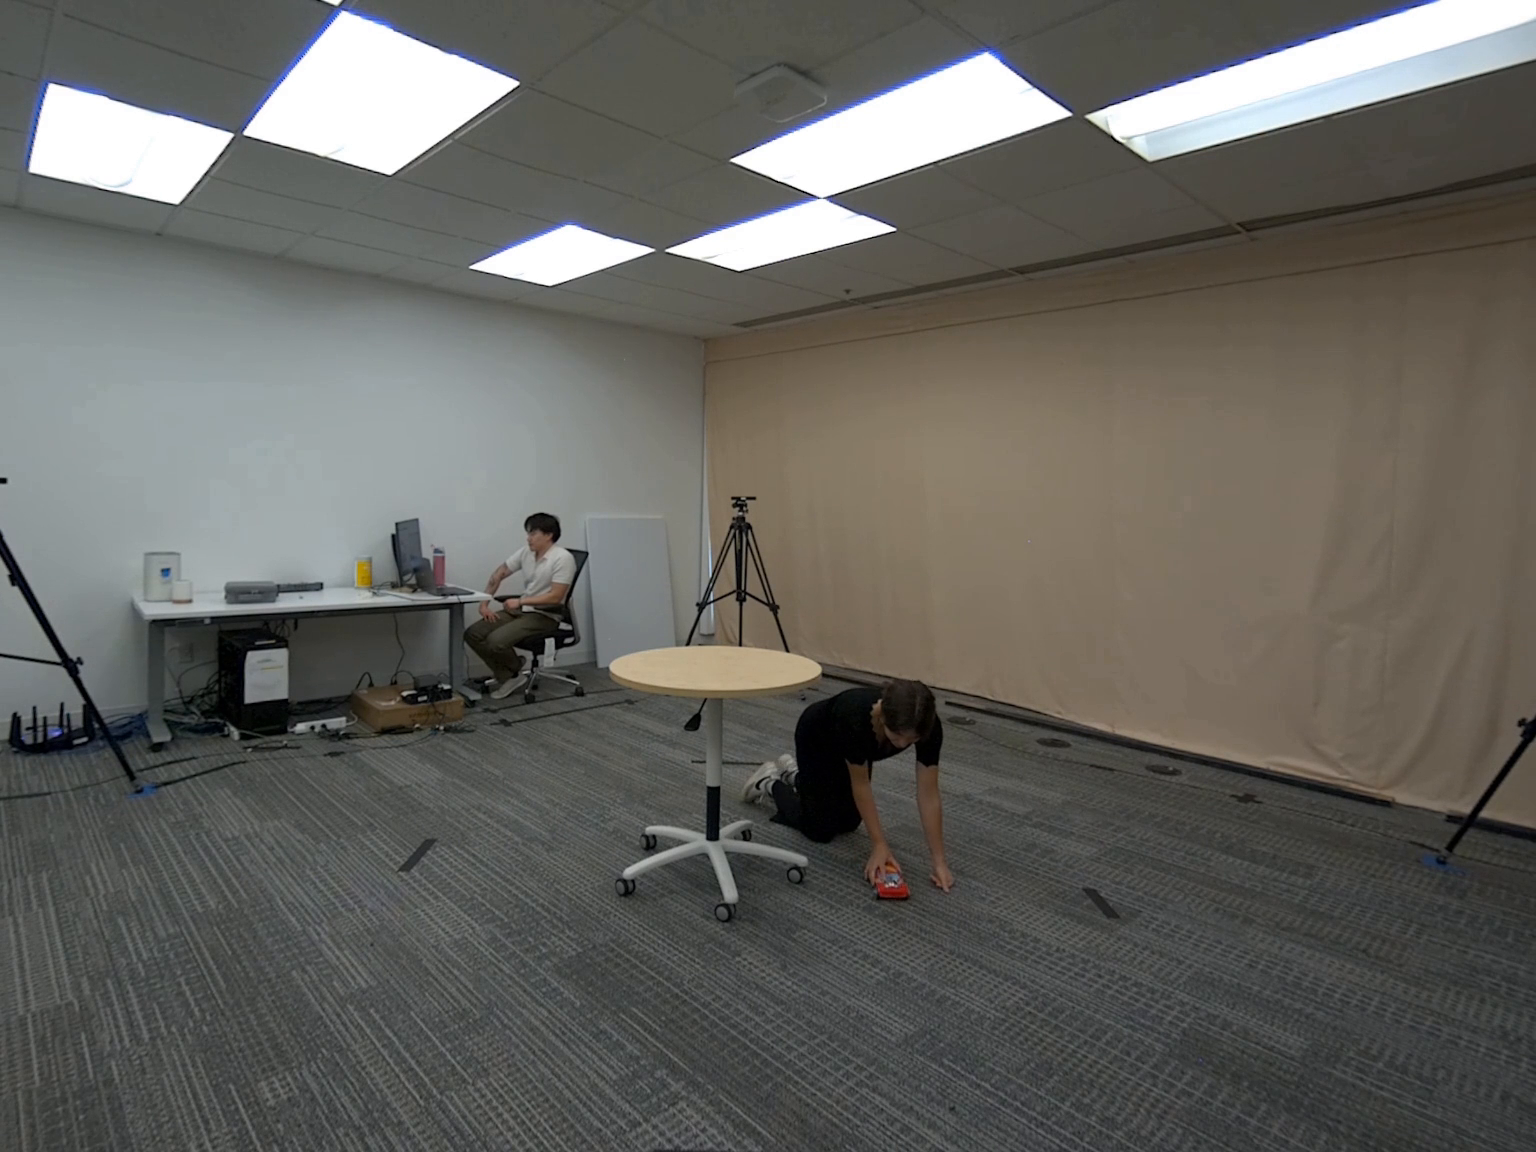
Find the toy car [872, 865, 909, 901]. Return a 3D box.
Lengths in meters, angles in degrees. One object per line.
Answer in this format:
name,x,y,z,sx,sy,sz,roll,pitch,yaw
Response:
toy car,0.420,1.099,3.037,0.130,0.082,0.258,1,17,-4
